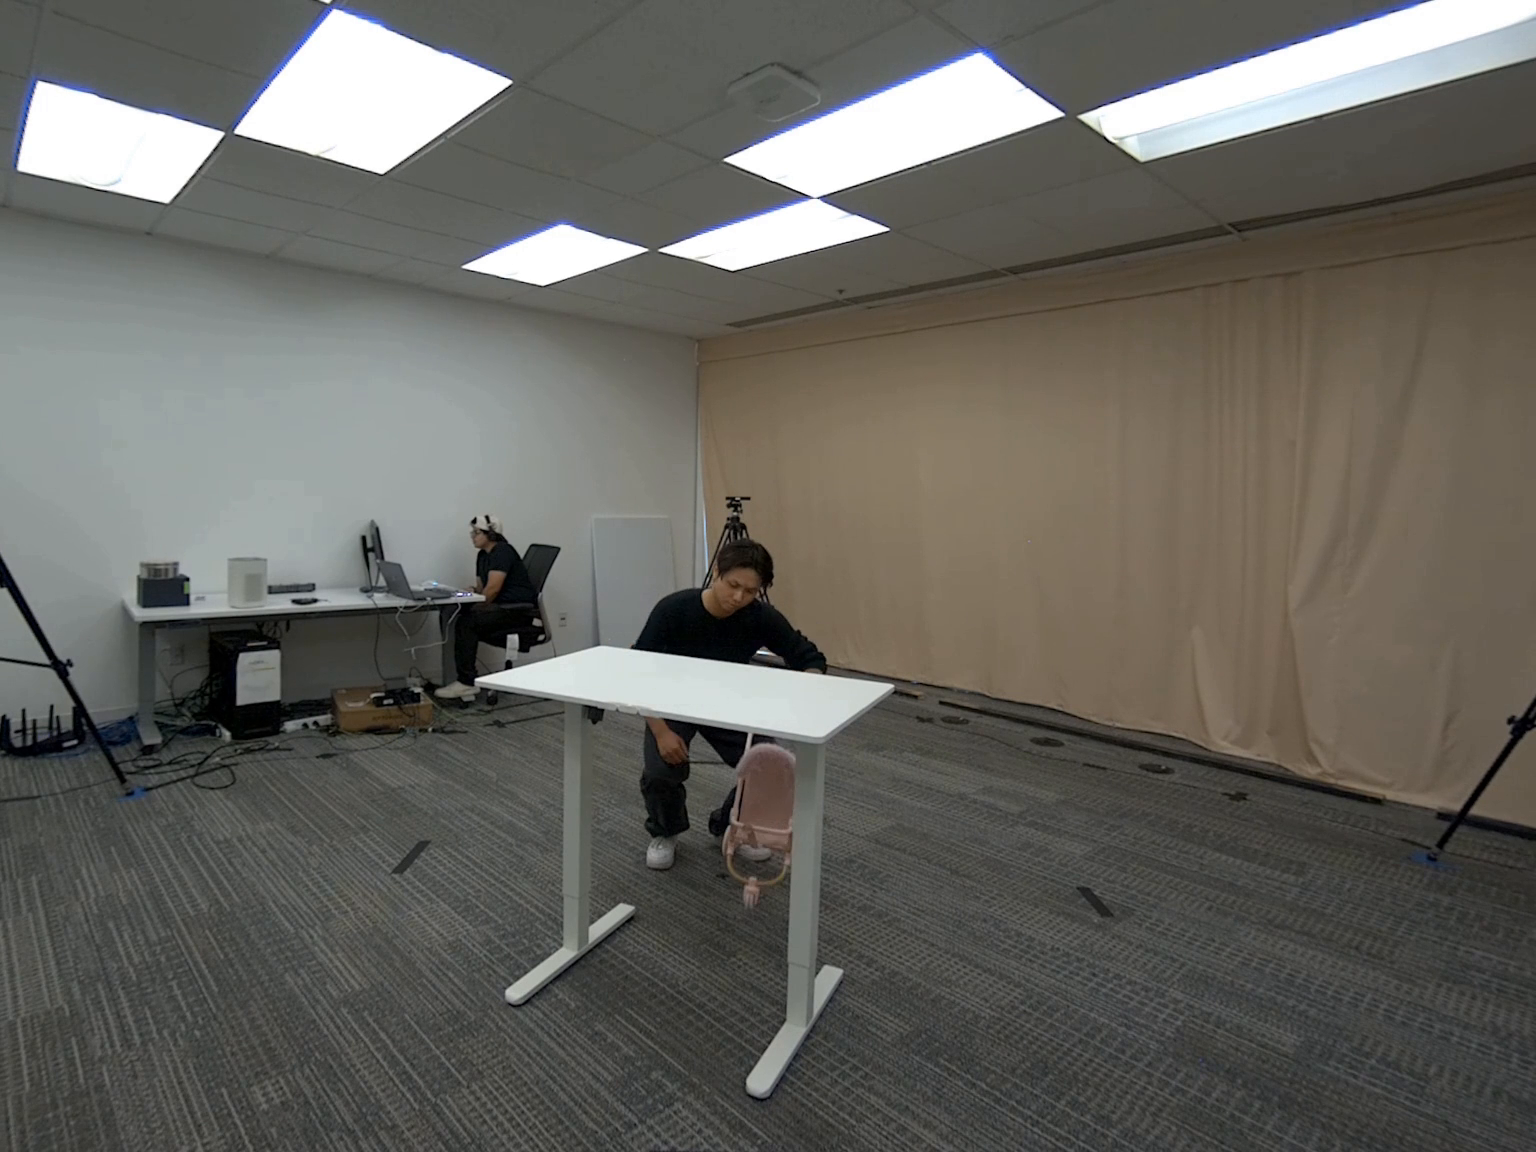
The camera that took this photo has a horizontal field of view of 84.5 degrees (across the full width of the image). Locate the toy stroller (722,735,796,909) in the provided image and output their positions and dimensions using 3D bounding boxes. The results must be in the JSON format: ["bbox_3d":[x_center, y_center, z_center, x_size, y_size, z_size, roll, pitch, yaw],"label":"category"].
[{"bbox_3d":[-0.015,0.771,2.757,0.285,0.535,0.337,7,1,12],"label":"toy stroller"}]
